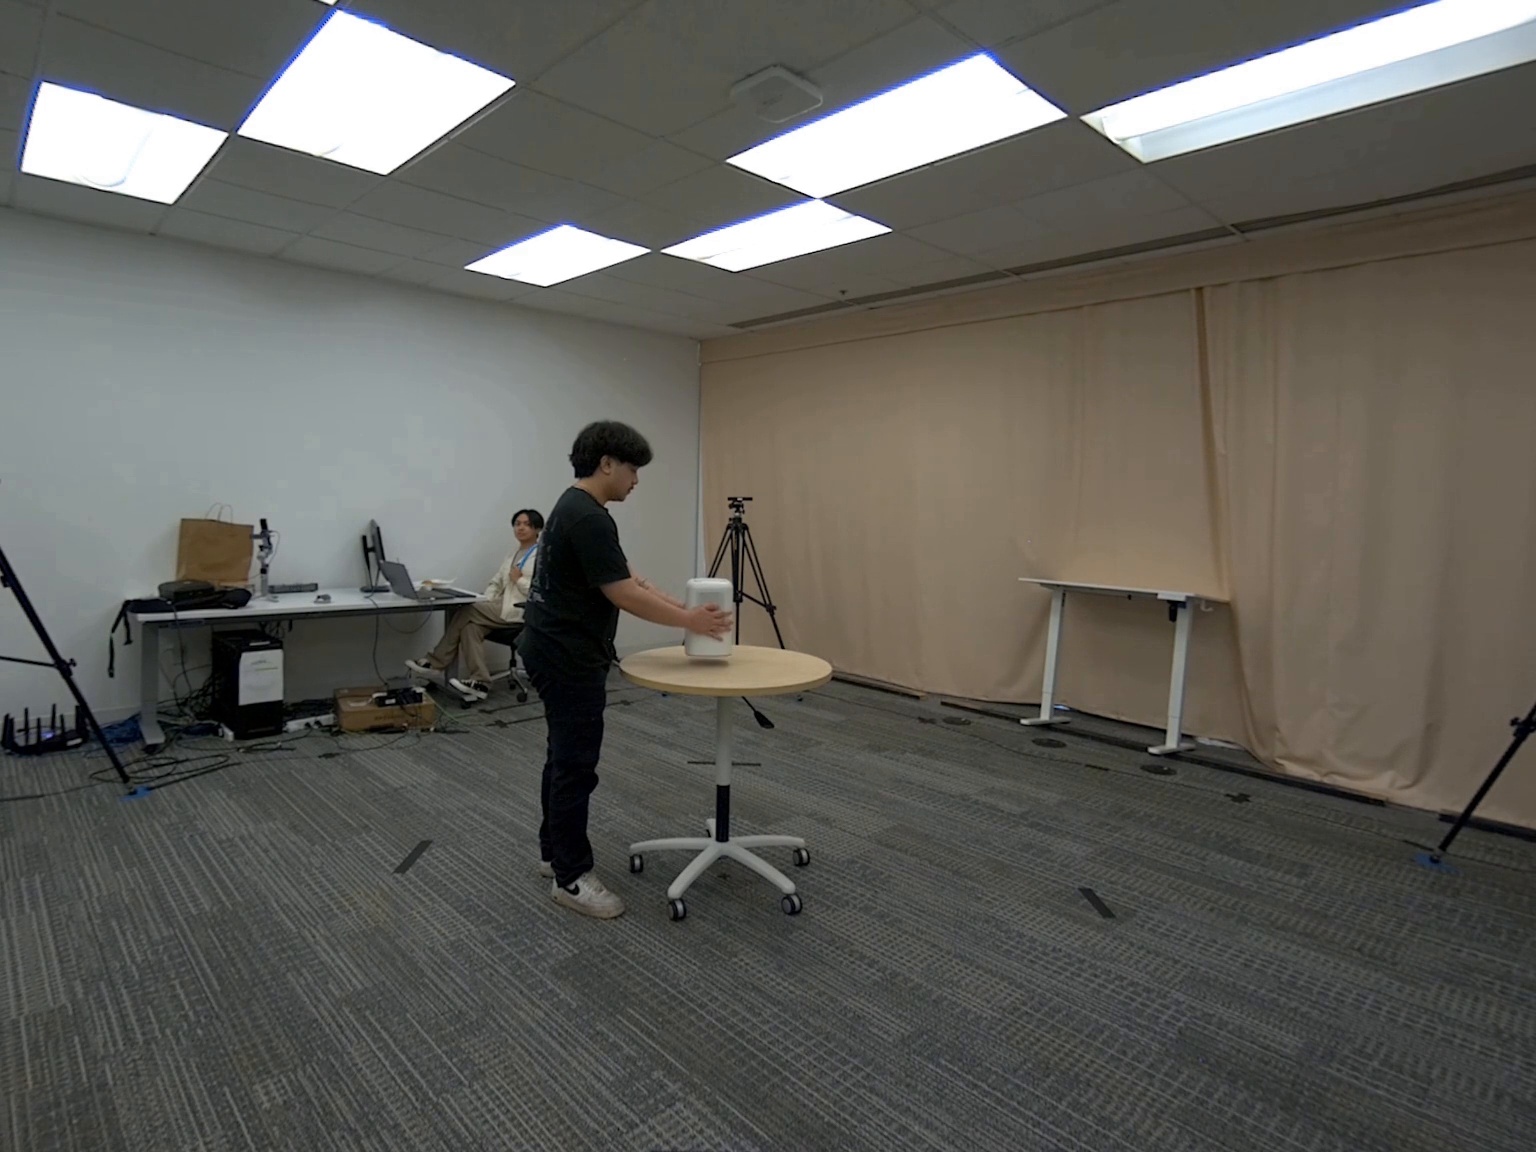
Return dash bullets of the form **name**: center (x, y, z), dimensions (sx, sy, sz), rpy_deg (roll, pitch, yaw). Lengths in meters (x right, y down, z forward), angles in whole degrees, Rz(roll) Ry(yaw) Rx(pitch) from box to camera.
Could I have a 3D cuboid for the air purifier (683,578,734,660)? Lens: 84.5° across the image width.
- **air purifier**: center (-0.225, 0.143, 3.048), dimensions (0.171, 0.265, 0.172), rpy_deg (2, 3, -3)
